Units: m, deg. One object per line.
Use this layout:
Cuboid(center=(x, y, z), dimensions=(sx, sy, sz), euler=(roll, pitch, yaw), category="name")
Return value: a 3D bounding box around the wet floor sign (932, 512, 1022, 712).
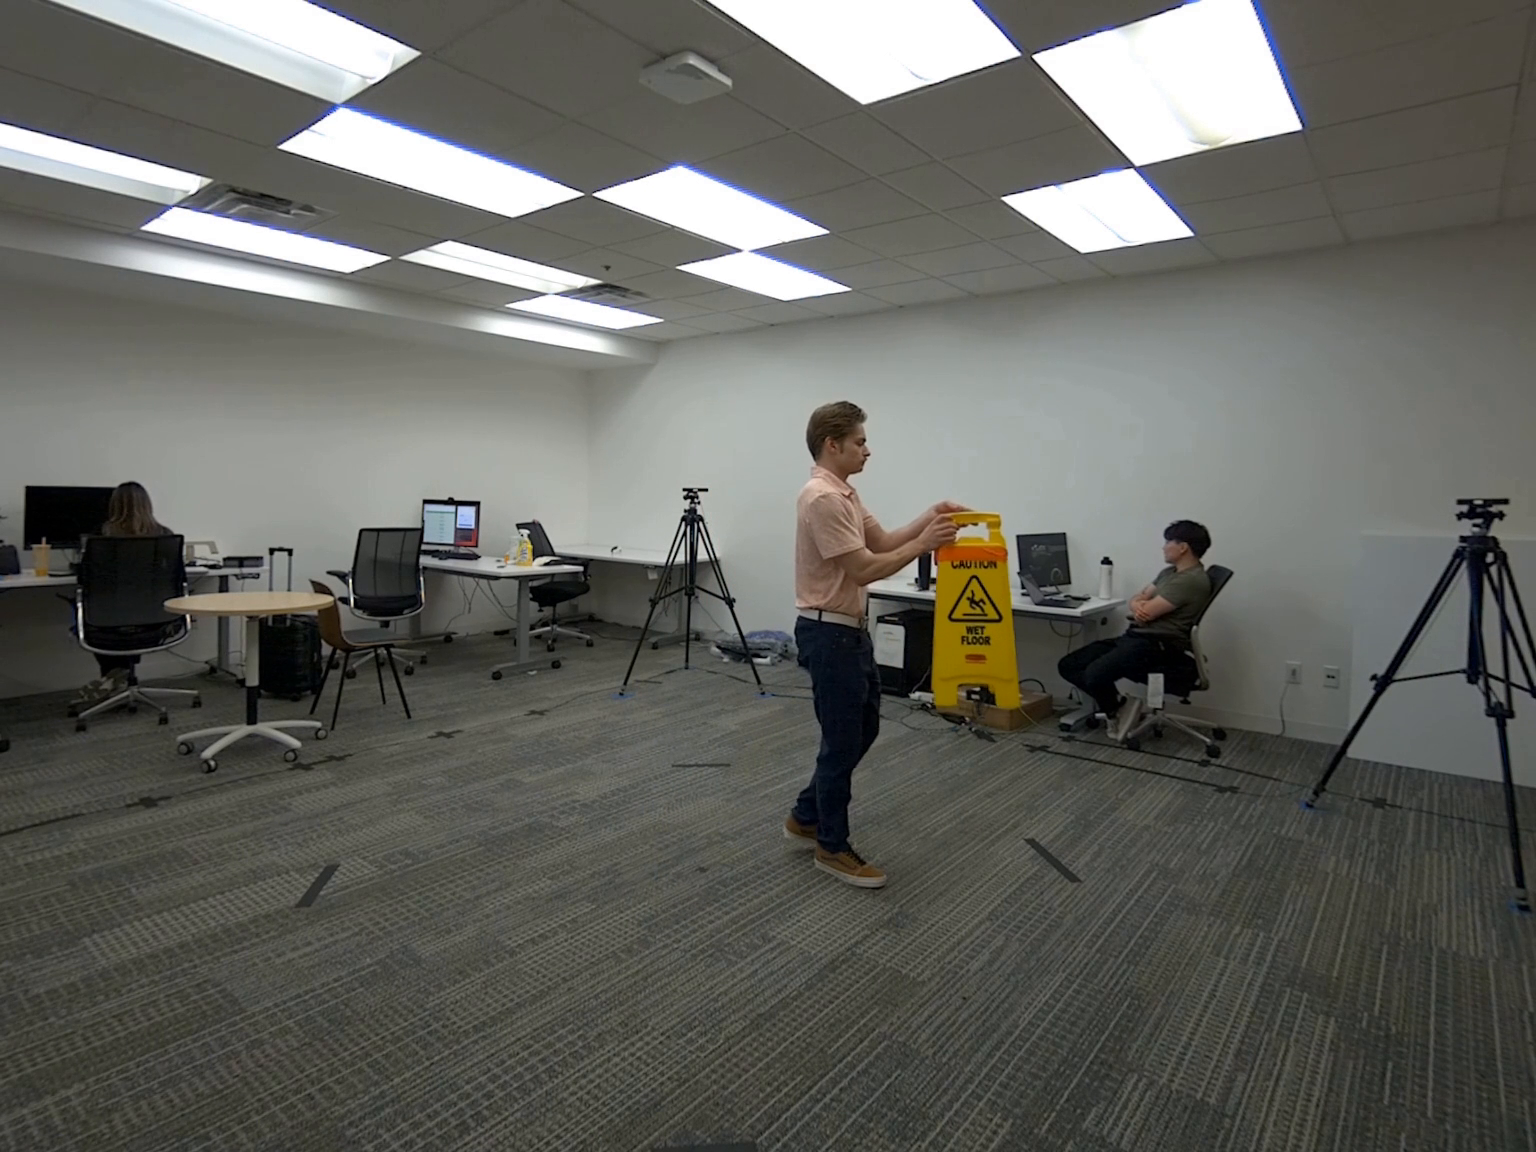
Cuboid(center=(0.707, 0.105, 2.957), dimensions=(0.286, 0.645, 0.287), euler=(-2, 2, 11), category="wet floor sign")
